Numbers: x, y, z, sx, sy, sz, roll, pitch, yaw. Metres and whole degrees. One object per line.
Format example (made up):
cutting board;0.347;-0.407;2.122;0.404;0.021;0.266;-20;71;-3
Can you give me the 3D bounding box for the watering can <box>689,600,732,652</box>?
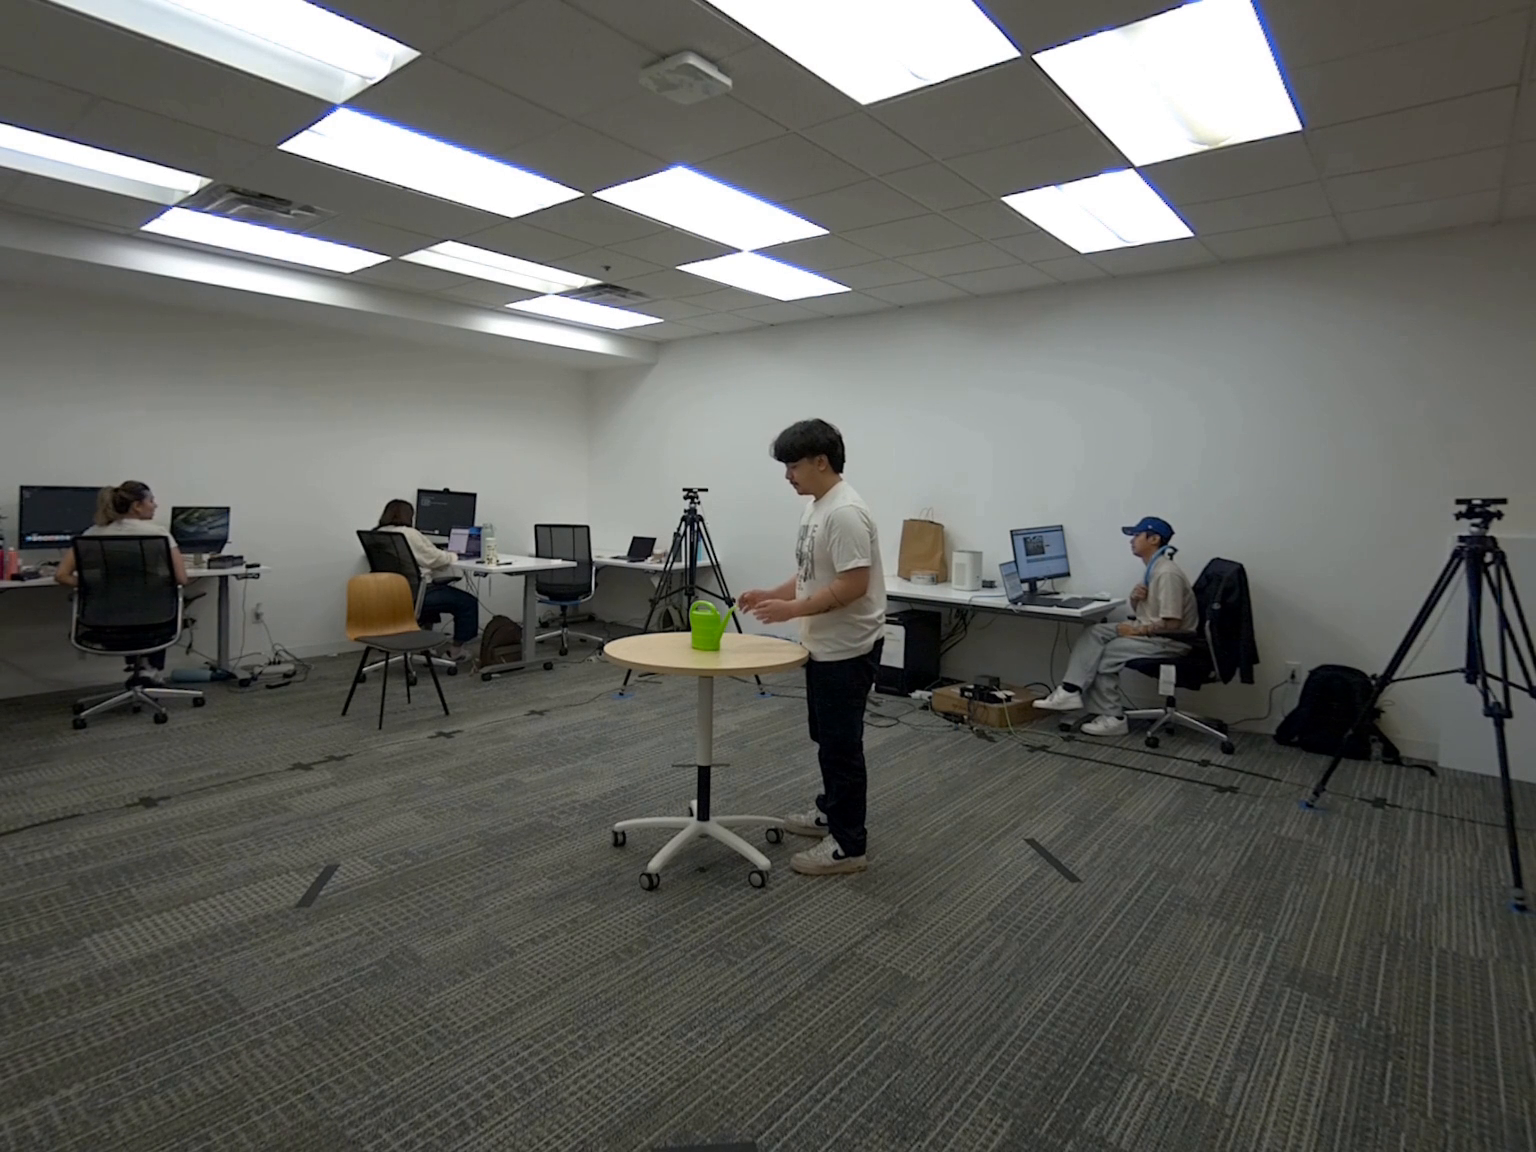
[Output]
watering can;-0.222;0.182;3.170;0.095;0.176;0.286;-3;5;-29
